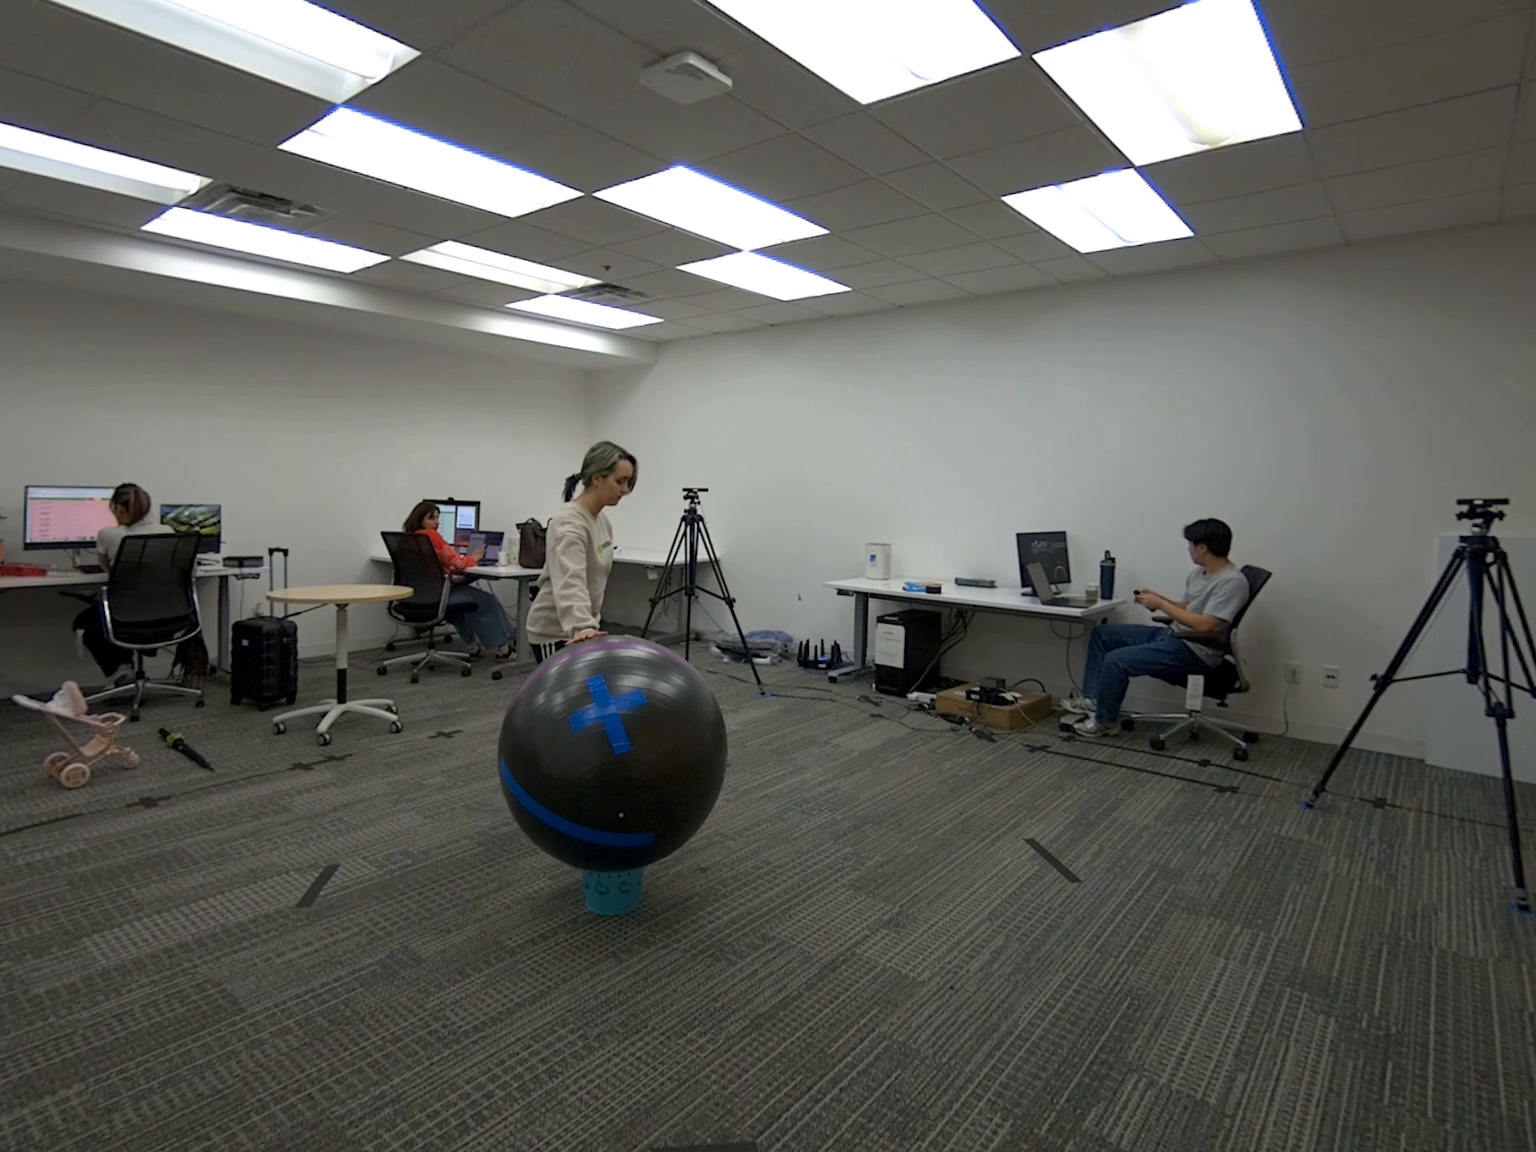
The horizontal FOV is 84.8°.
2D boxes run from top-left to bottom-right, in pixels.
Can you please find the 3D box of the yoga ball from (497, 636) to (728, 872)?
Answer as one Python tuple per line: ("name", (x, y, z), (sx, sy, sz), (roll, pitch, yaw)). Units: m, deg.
("yoga ball", (-0.521, 0.581, 2.835), (0.757, 0.755, 0.762), (1, 4, -2))
